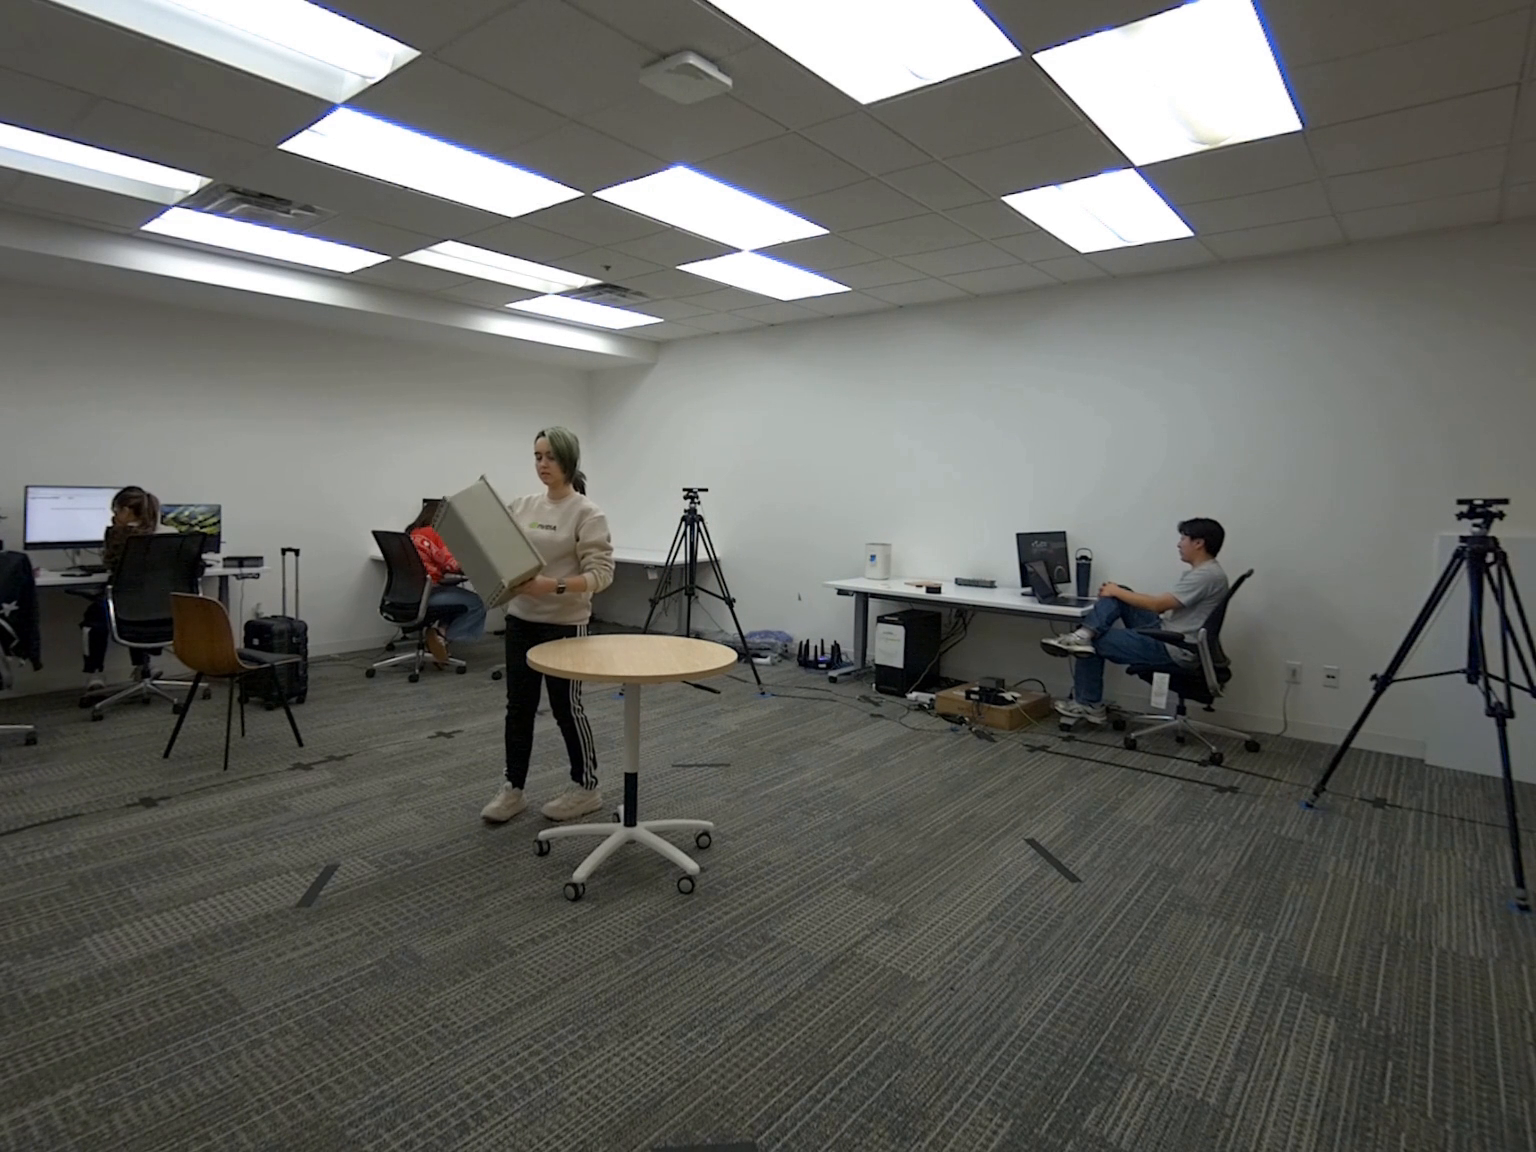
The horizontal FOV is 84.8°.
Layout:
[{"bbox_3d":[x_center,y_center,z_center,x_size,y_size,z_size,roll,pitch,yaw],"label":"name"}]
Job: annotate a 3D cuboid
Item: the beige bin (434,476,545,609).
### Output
[{"bbox_3d":[-1.116,-0.116,3.294,0.187,0.424,0.380,-33,-2,-34],"label":"beige bin"}]
